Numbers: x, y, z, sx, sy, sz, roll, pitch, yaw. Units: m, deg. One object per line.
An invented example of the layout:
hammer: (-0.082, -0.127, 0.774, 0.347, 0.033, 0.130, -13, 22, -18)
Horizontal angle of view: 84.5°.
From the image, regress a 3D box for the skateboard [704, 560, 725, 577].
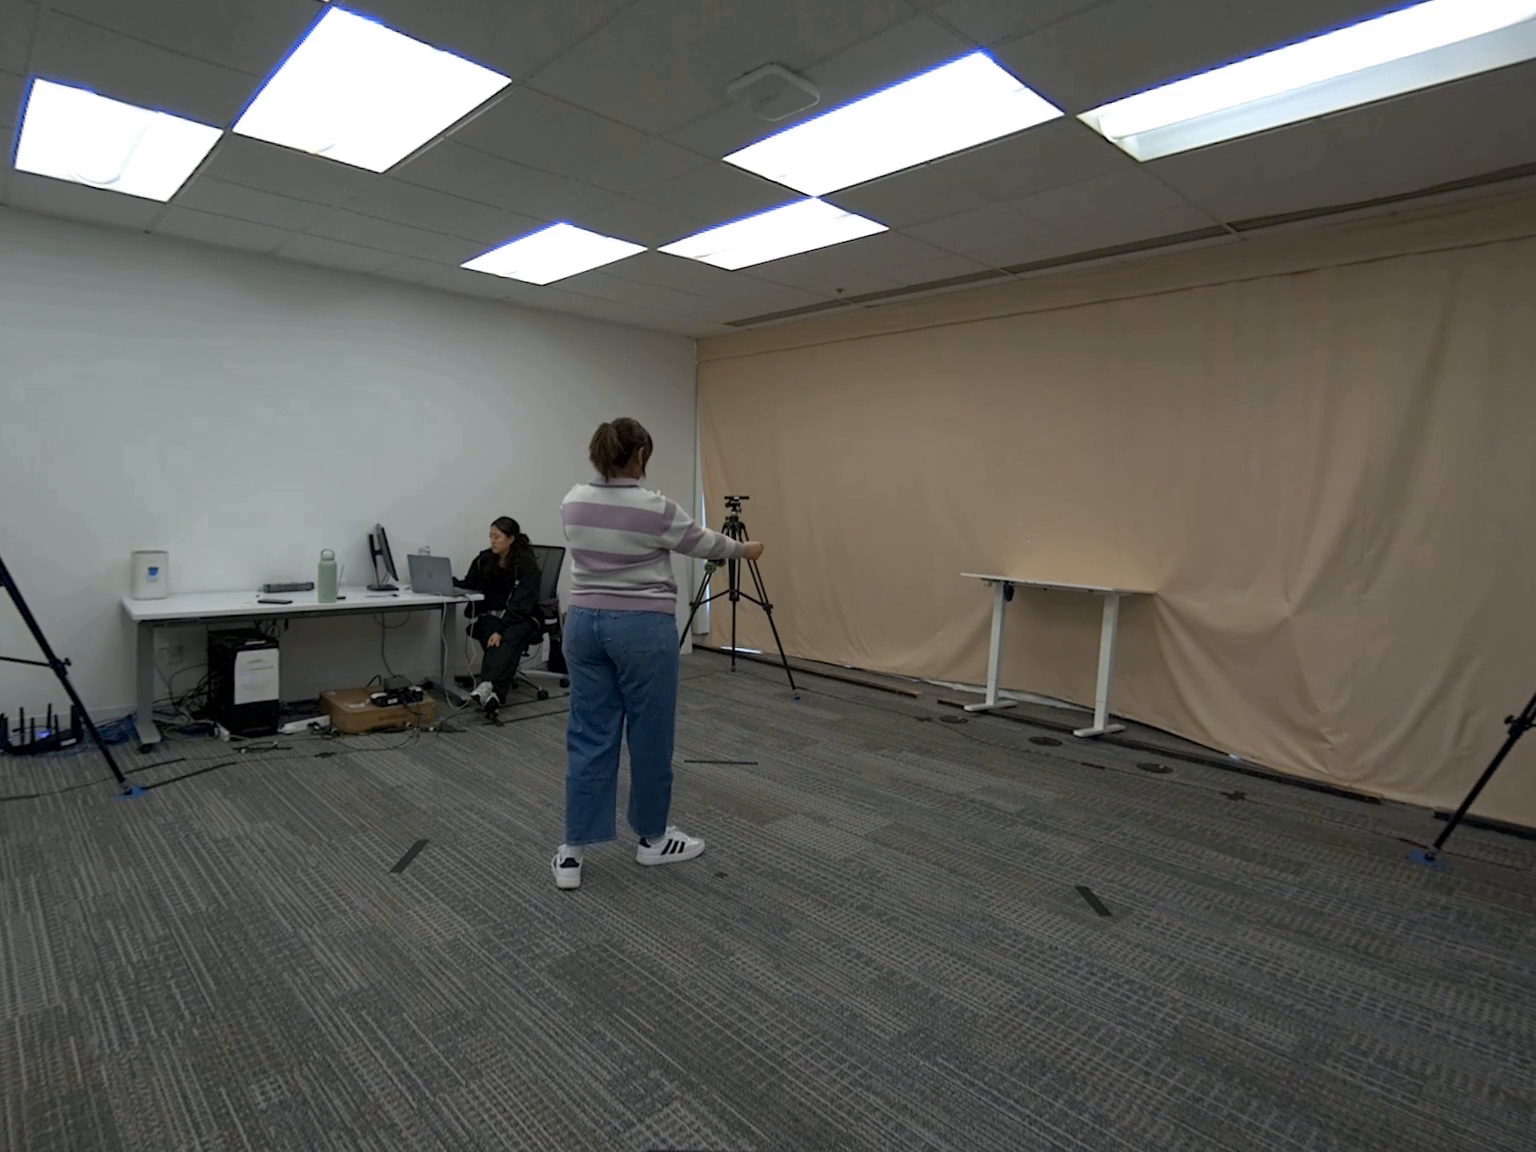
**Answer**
skateboard: (-0.424, -0.093, 3.609, 0.796, 0.110, 0.191, 3, 4, 17)
